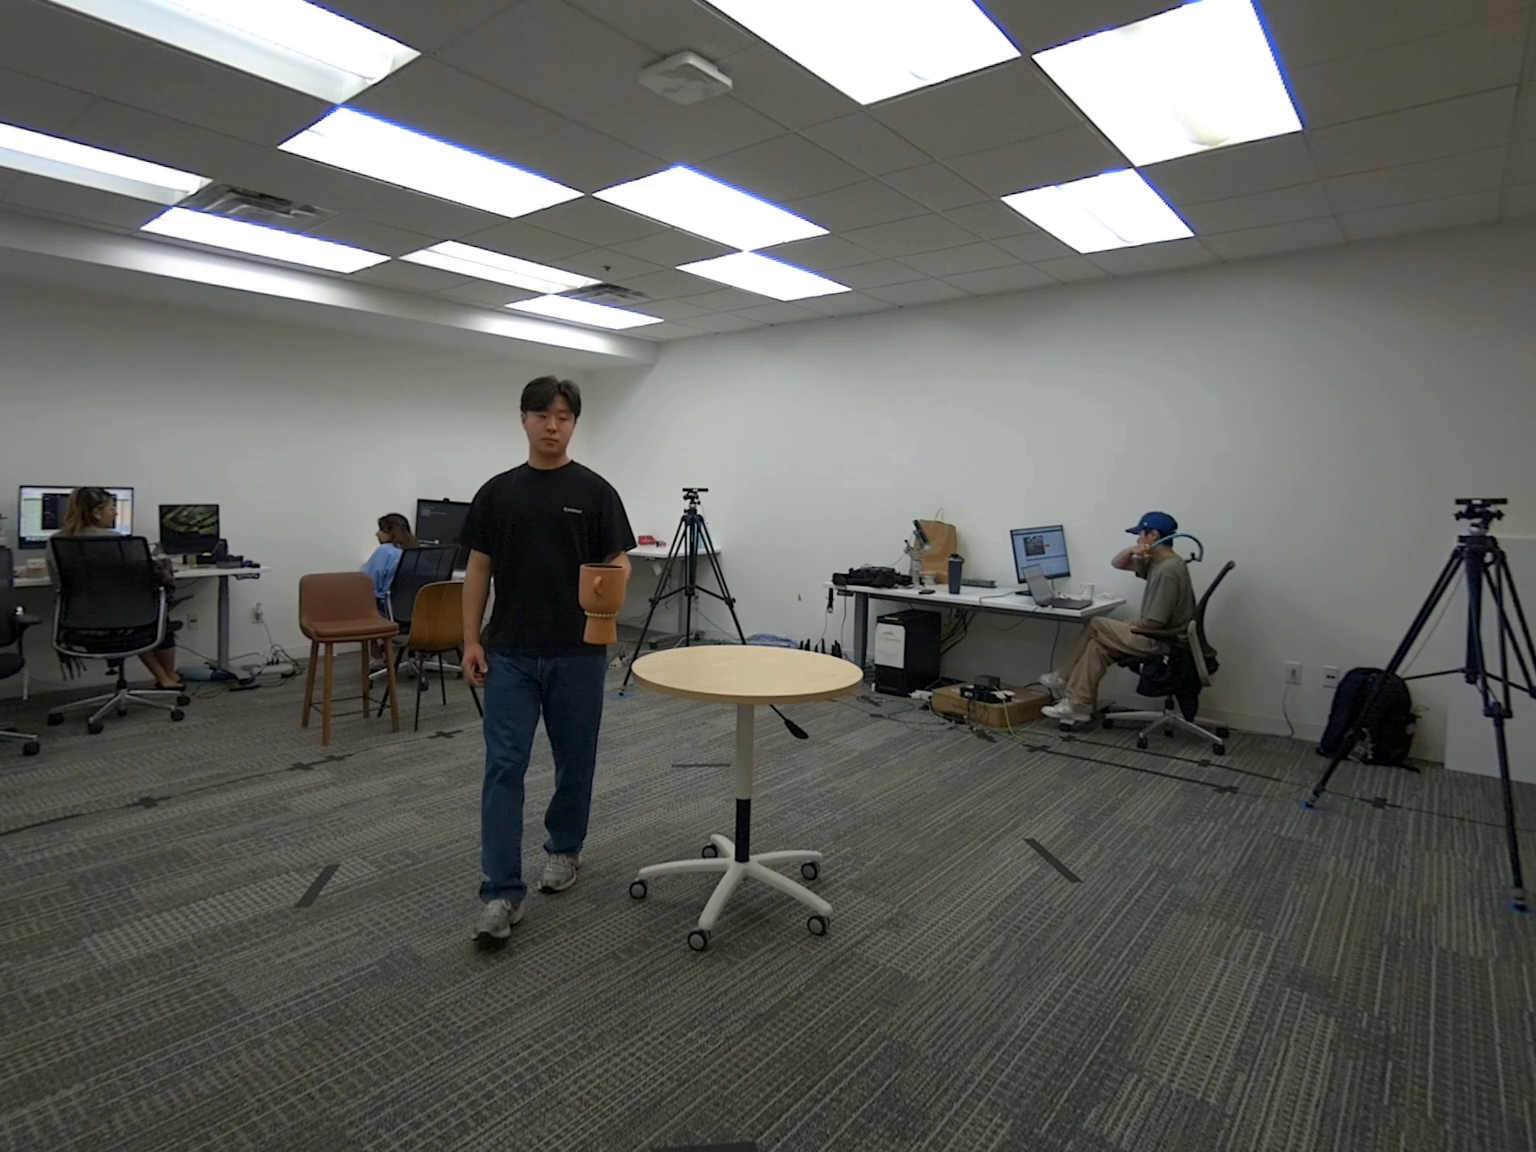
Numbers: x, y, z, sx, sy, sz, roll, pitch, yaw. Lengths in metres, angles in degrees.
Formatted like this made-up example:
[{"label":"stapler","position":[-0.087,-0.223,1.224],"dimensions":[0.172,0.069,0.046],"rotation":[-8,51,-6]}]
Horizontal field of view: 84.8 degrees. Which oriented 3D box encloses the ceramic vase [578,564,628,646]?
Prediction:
[{"label":"ceramic vase","position":[-0.489,0.078,2.485],"dimensions":[0.139,0.219,0.154],"rotation":[7,5,44]}]
